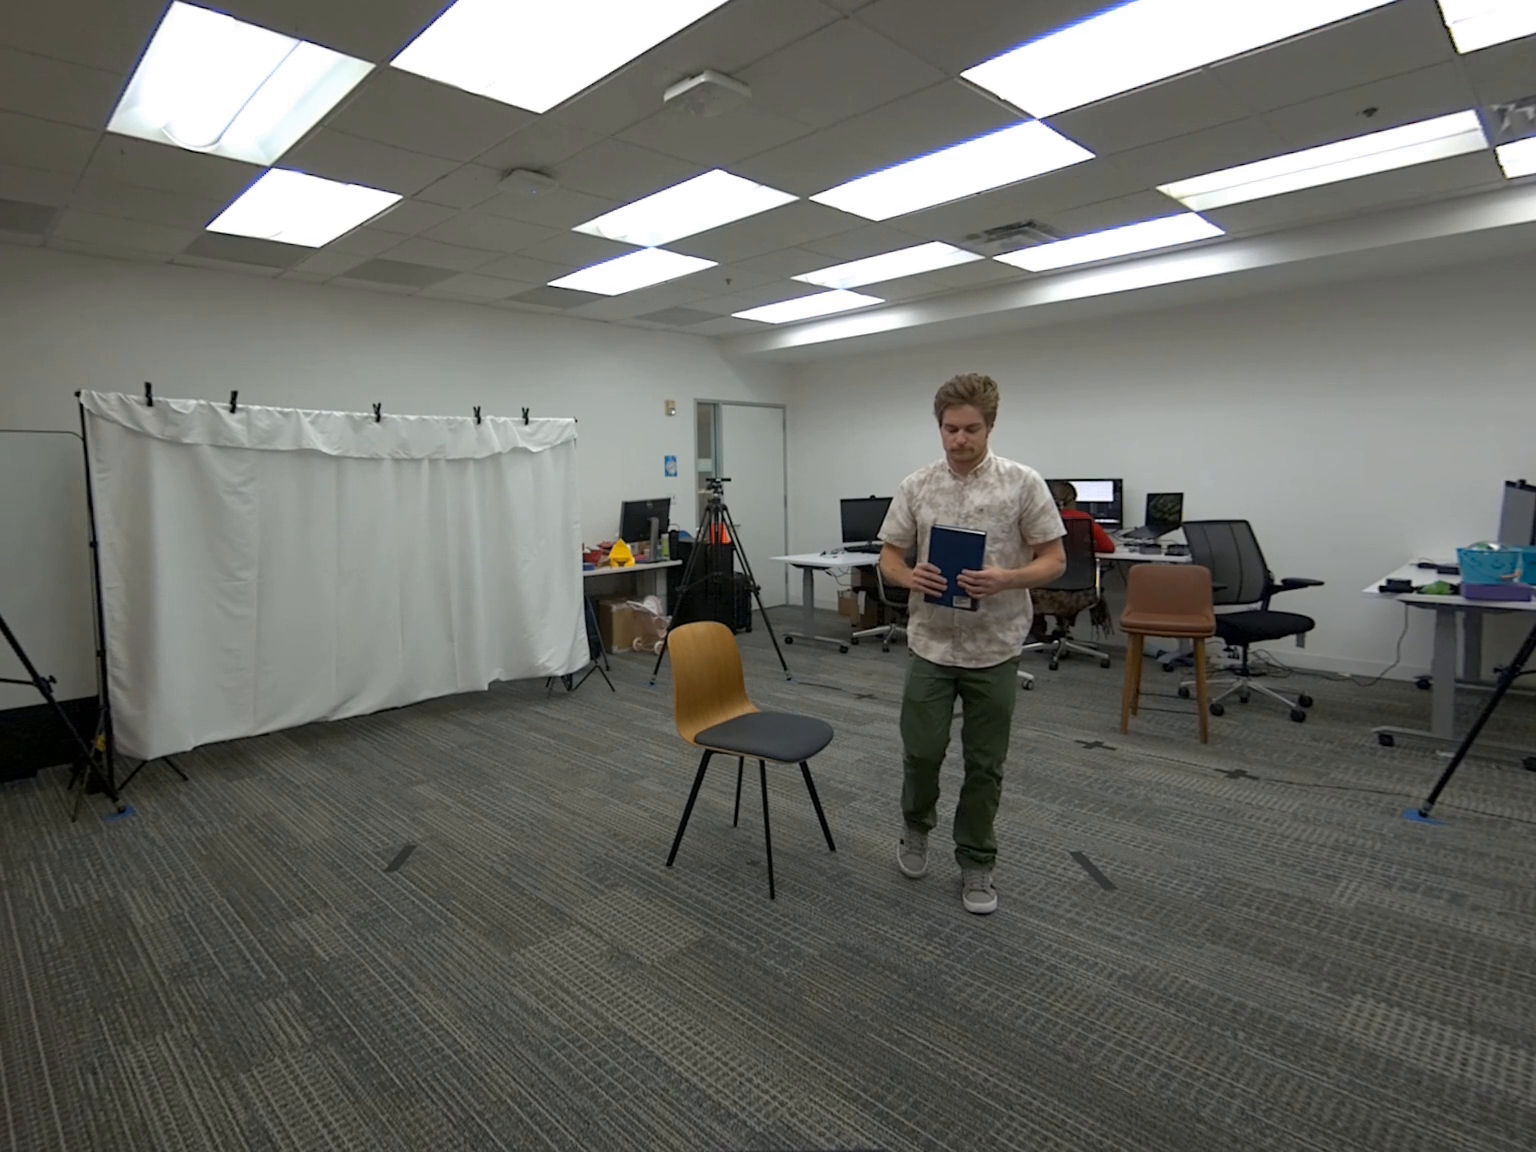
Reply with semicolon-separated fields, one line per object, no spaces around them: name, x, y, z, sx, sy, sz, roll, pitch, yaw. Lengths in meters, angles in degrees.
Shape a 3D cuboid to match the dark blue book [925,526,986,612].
dark blue book;0.584;-0.026;2.603;0.168;0.242;0.044;12;17;27
